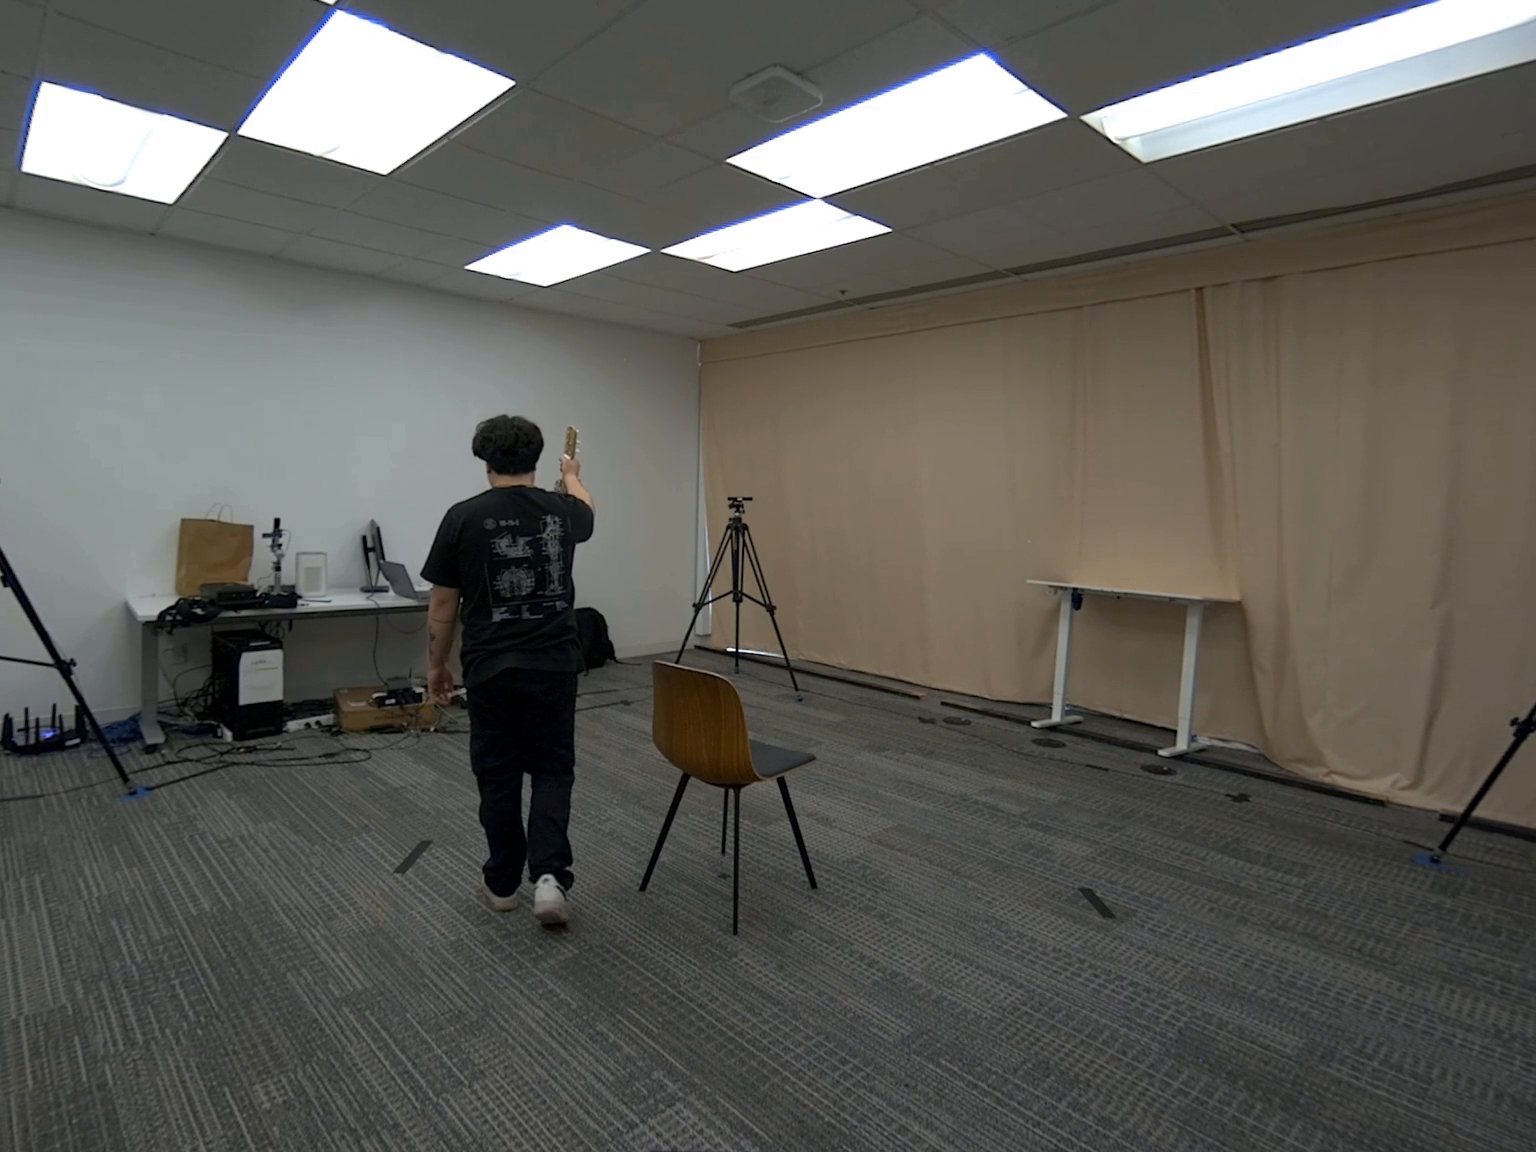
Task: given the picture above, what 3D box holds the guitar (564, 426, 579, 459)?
[{"bbox_3d":[-0.782,-0.348,3.373,0.069,0.492,0.199,-13,44,-43],"label":"guitar"}]
